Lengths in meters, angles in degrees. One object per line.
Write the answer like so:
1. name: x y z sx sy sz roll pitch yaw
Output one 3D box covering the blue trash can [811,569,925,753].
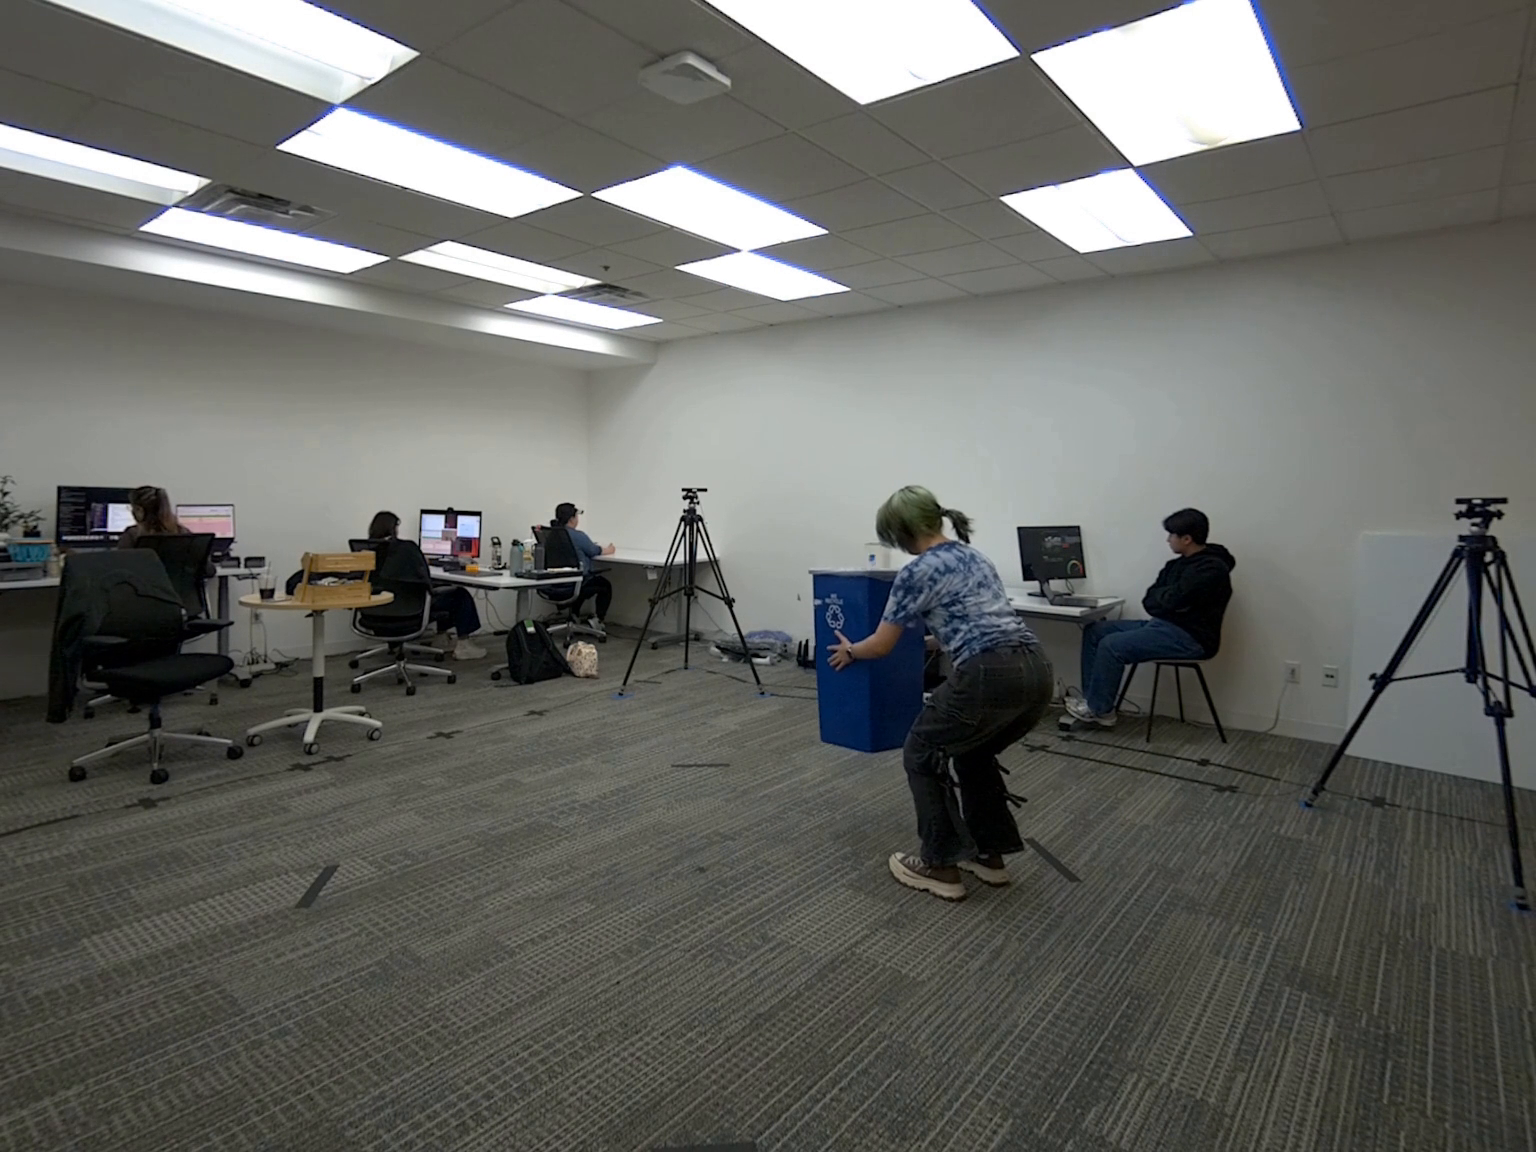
1. blue trash can: 0.416 0.325 3.502 0.367 0.714 0.385 -1 -1 -38
